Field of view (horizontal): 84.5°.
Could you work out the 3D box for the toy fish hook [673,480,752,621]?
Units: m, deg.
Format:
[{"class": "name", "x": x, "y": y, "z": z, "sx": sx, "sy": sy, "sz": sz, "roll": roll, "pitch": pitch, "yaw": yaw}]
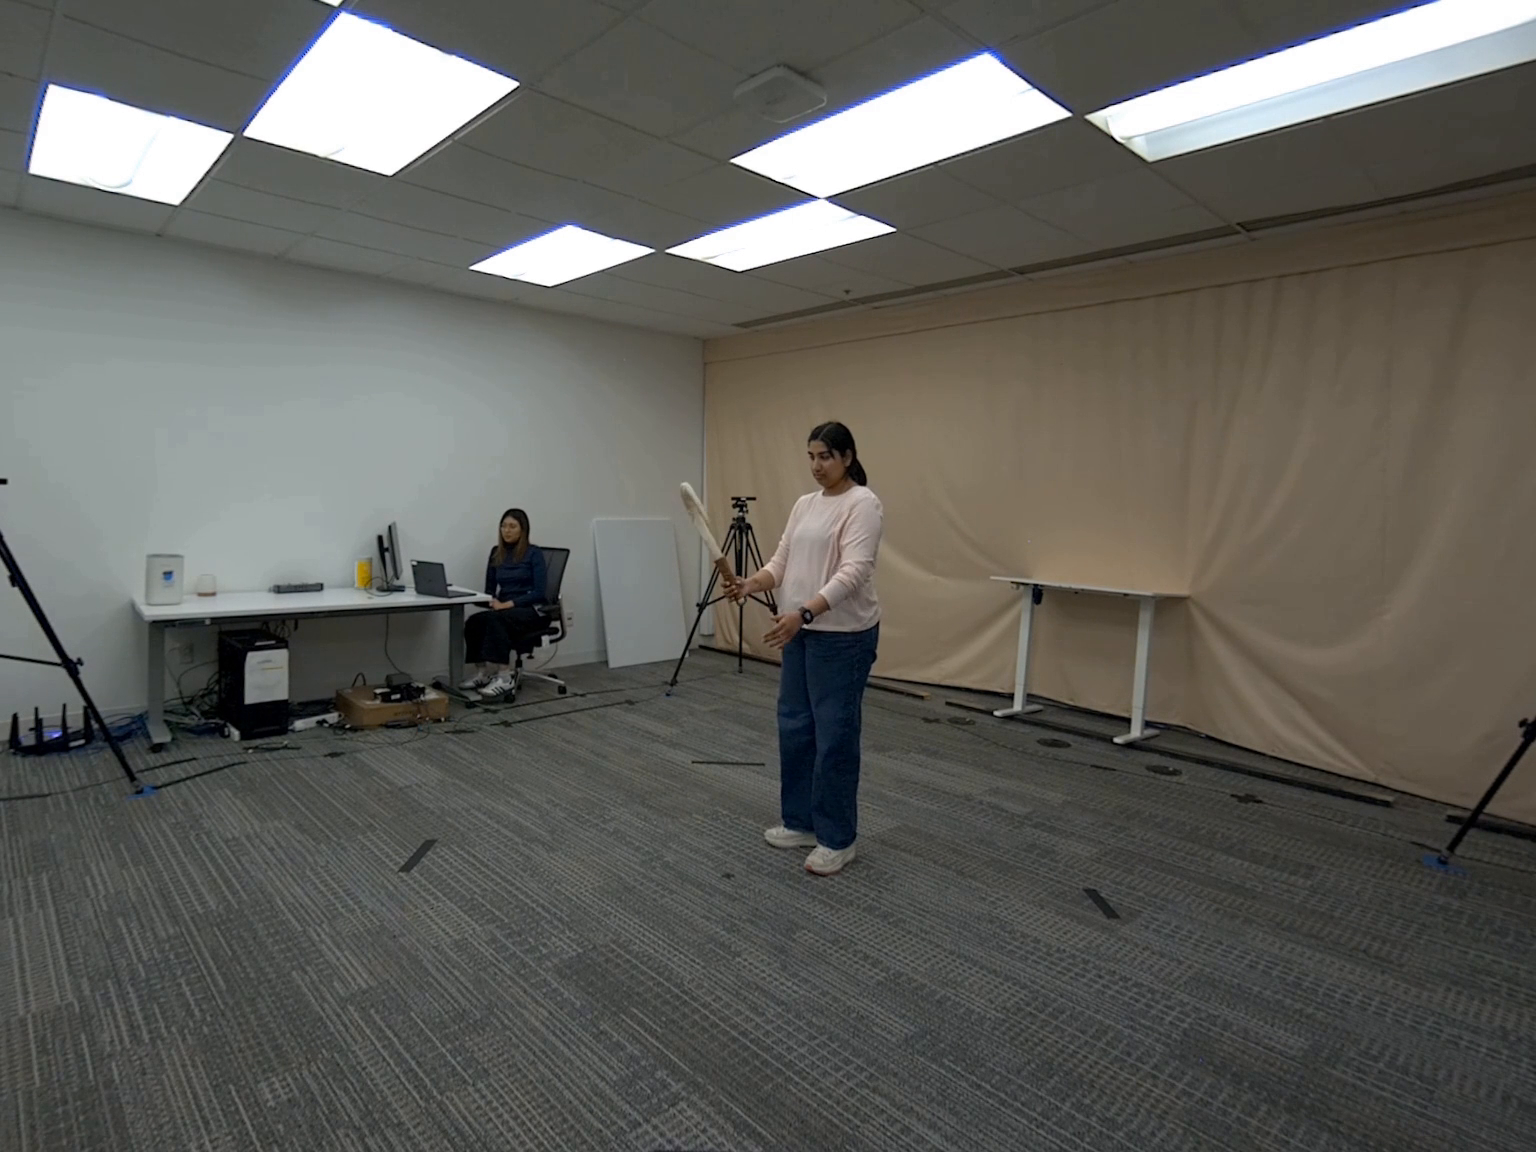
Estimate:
[{"class": "toy fish hook", "x": -0.204, "y": -0.100, "z": 3.031, "sx": 0.048, "sy": 0.502, "sz": 0.227, "roll": -25, "pitch": 10, "yaw": -7}]
